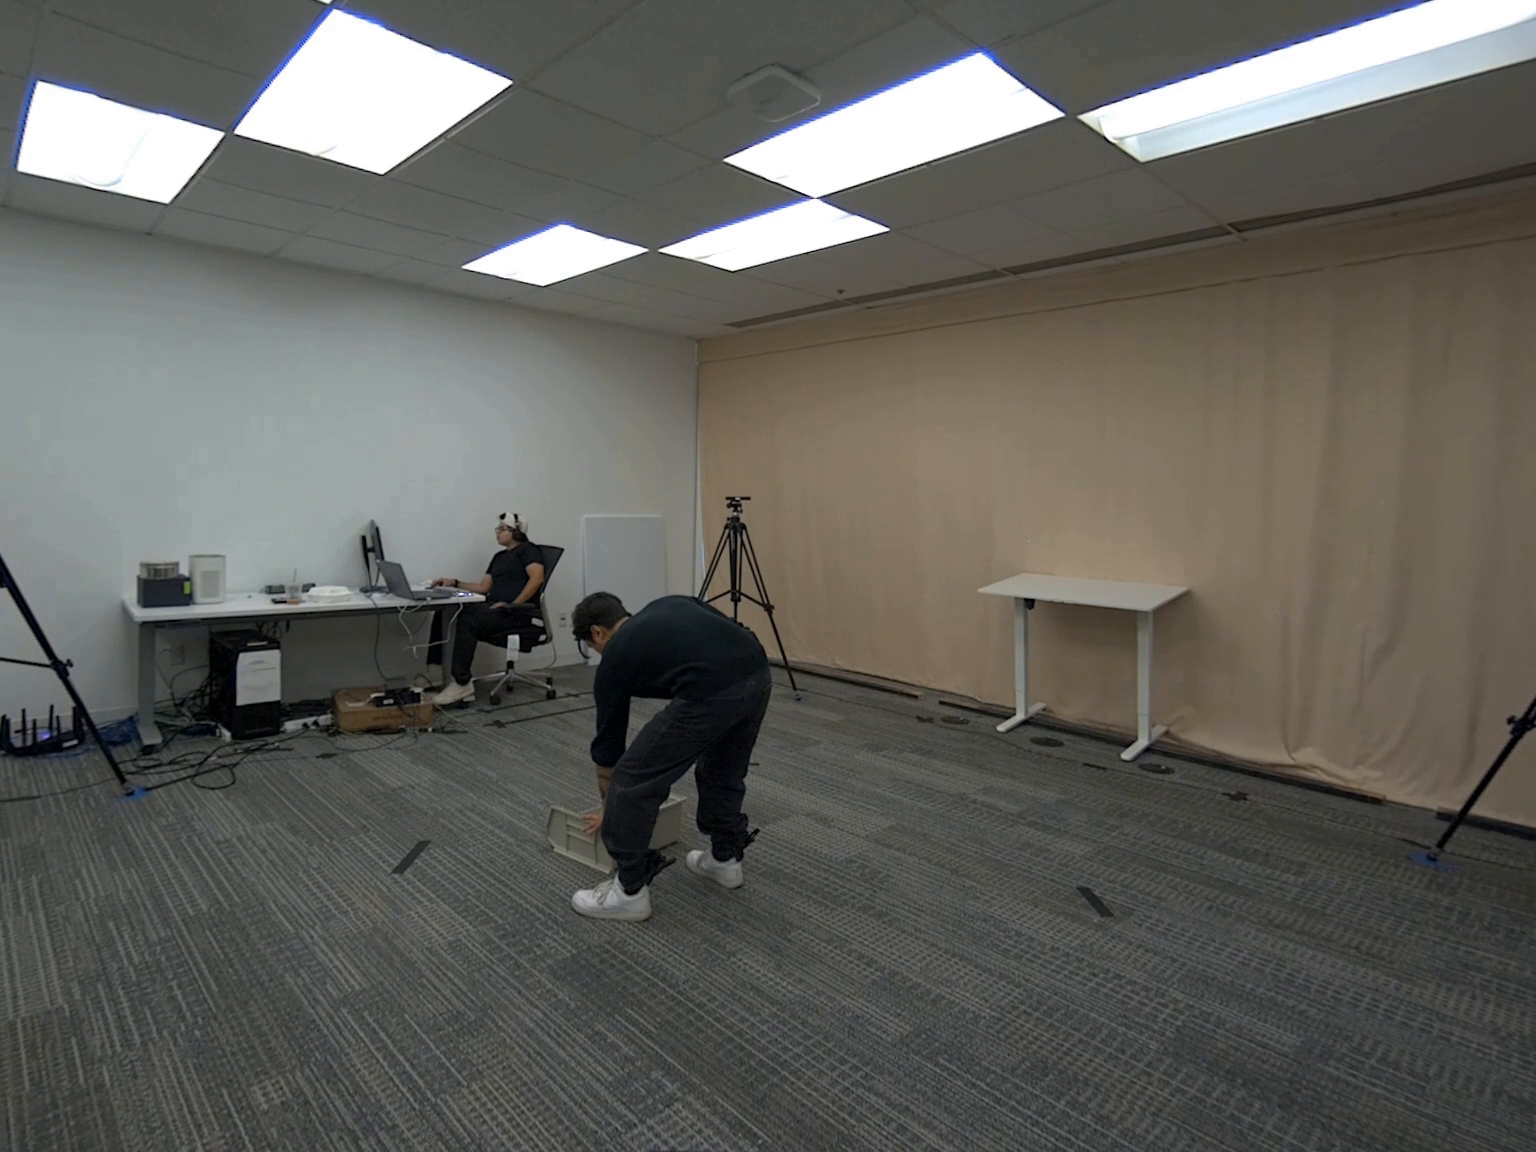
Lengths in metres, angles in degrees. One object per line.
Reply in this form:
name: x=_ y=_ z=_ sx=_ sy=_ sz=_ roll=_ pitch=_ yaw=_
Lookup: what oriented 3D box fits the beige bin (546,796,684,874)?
beige bin: x=-0.613 y=0.988 z=3.363 sx=0.387 sy=0.188 sz=0.413 roll=6 pitch=6 yaw=37
